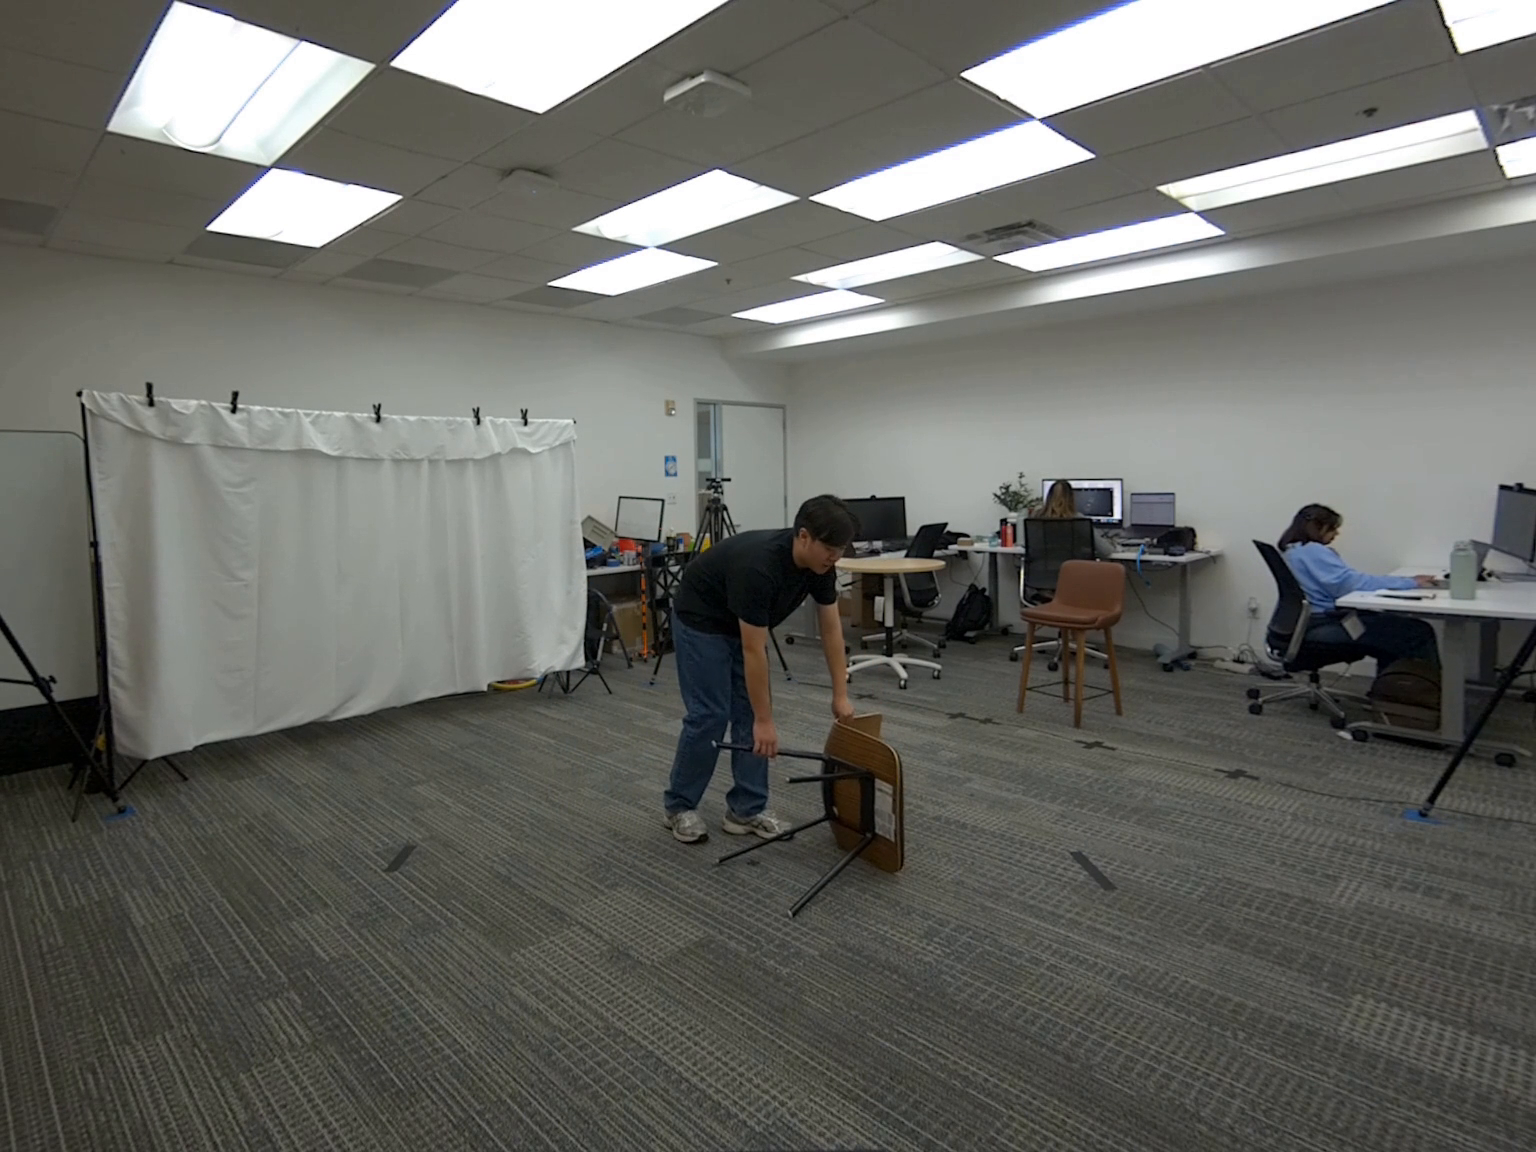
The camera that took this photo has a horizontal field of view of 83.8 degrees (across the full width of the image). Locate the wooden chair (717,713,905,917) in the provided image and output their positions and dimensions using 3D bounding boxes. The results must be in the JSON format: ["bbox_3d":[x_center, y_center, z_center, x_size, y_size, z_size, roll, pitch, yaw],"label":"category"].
[{"bbox_3d":[0.293,0.804,3.107,0.855,0.476,0.539,-6,8,-38],"label":"wooden chair"}]
